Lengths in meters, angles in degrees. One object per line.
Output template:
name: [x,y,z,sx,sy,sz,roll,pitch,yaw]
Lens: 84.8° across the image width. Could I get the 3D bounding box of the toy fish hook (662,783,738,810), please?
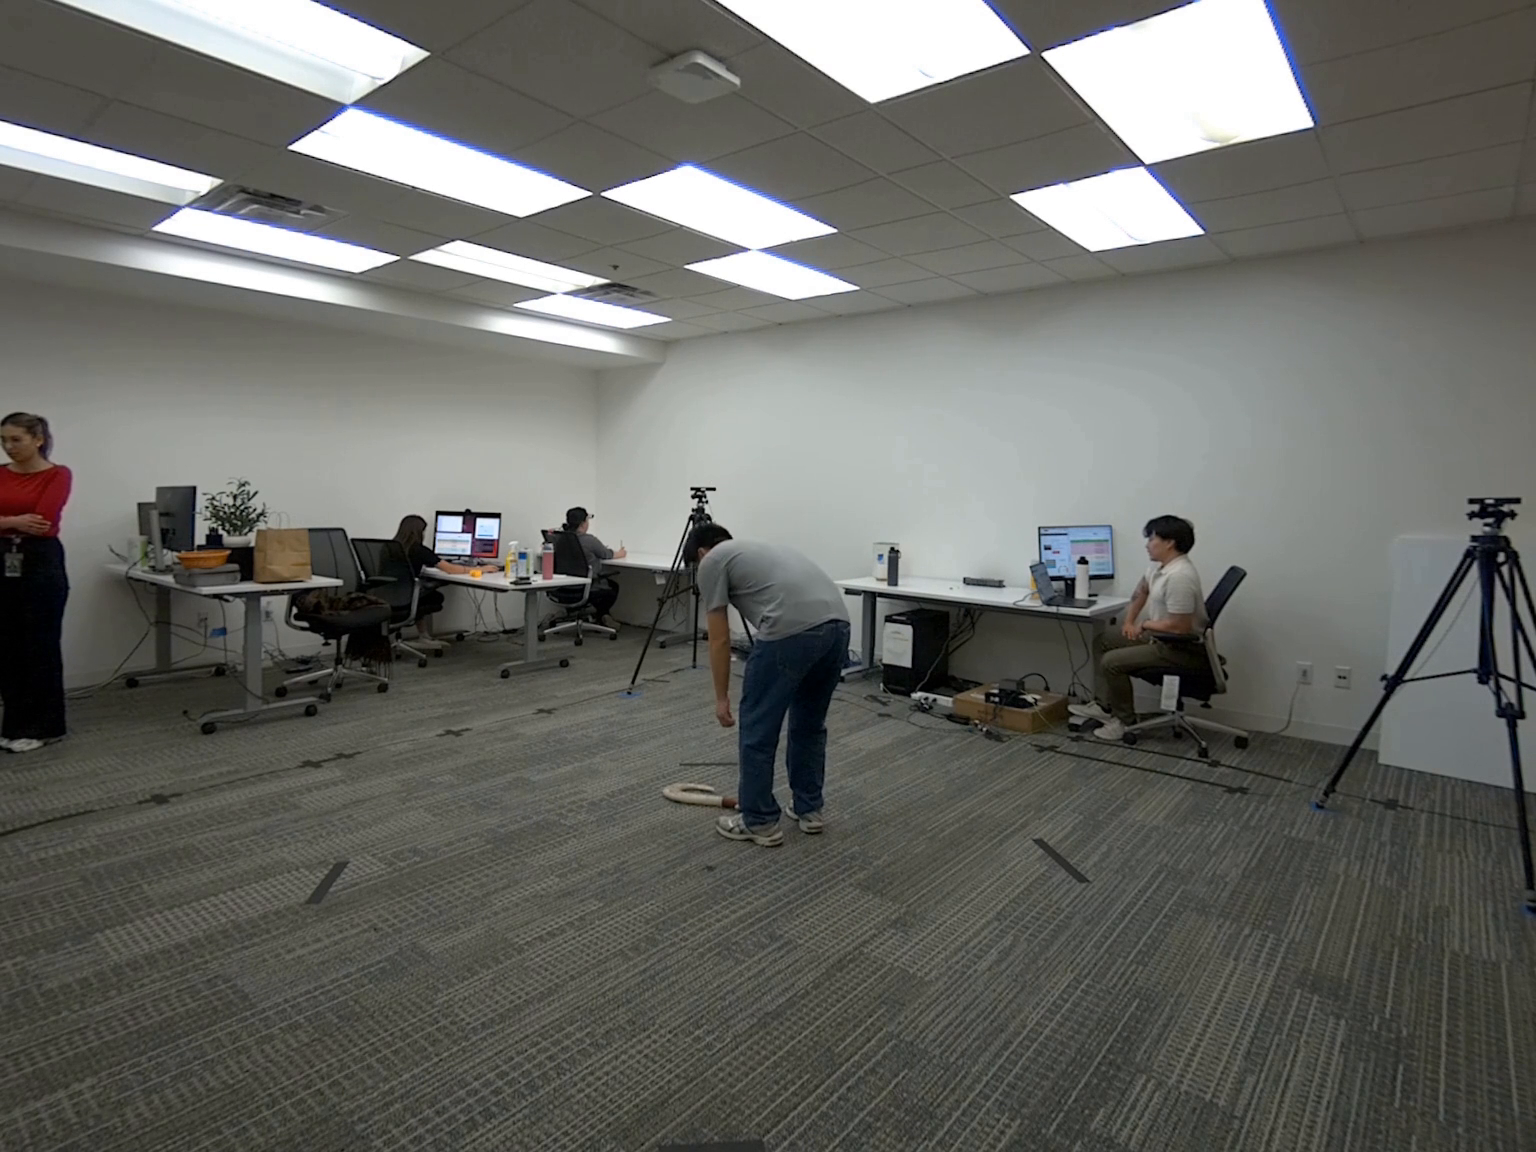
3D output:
toy fish hook: [-0.238,0.977,3.784,0.520,0.048,0.220,4,8,26]
